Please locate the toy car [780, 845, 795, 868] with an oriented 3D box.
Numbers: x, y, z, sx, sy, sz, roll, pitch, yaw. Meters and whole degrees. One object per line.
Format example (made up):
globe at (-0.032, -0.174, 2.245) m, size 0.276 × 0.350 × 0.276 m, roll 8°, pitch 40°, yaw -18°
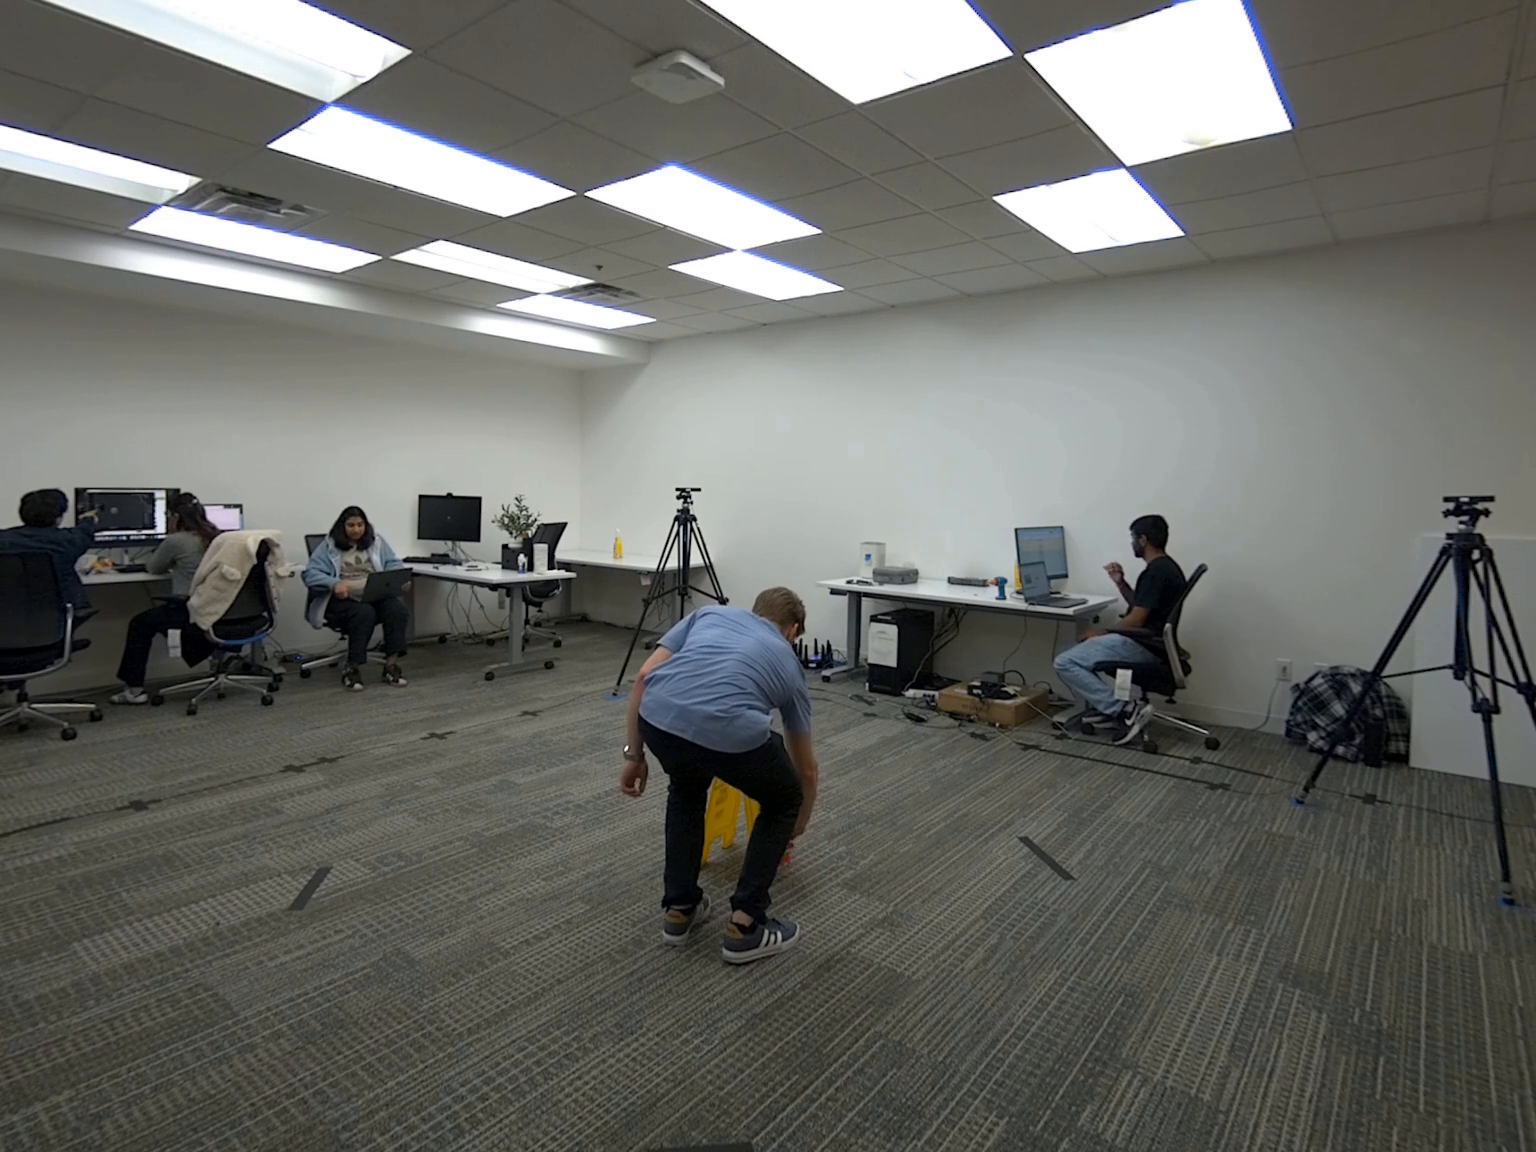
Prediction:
toy car at (0.024, 0.912, 3.075) m, size 0.084 × 0.260 × 0.126 m, roll -24°, pitch -20°, yaw 24°
